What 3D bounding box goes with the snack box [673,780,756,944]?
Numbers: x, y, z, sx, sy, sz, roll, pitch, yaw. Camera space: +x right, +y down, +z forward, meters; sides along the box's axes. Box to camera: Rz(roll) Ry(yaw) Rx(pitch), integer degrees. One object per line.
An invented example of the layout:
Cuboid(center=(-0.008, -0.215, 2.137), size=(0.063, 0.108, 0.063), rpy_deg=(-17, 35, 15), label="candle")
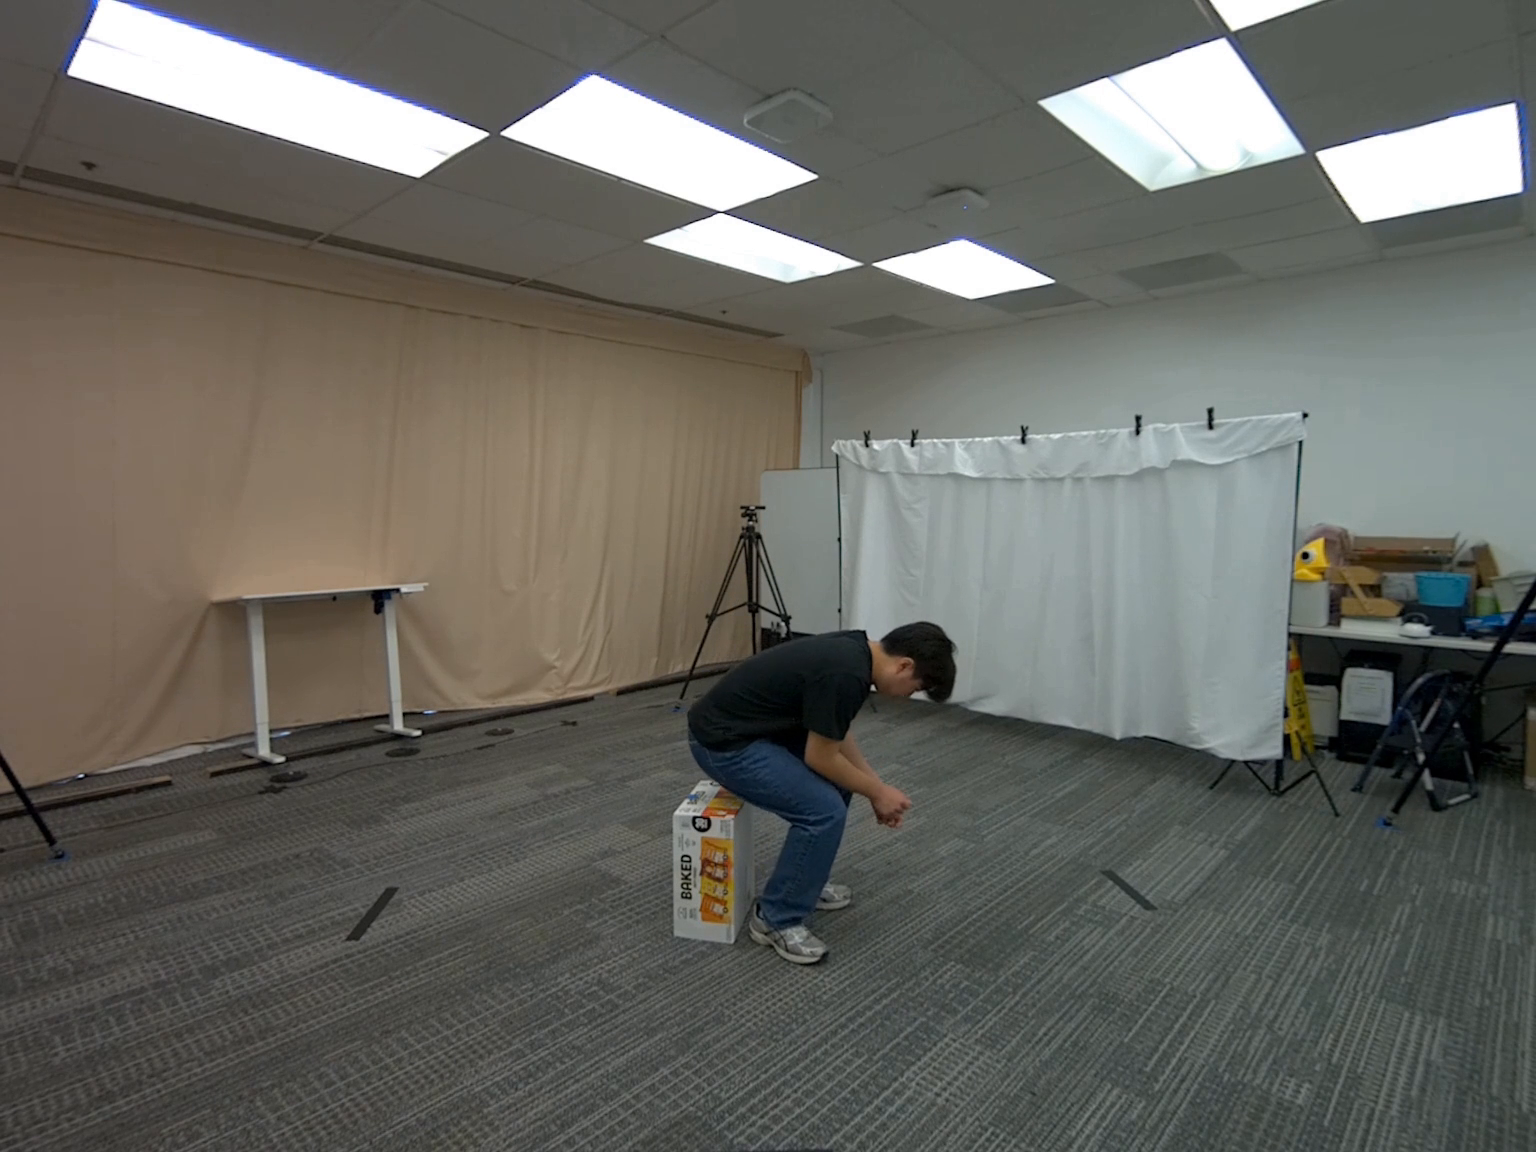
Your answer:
Cuboid(center=(-0.173, 0.954, 2.851), size=(0.208, 0.404, 0.336), rpy_deg=(0, 3, 12), label="snack box")
